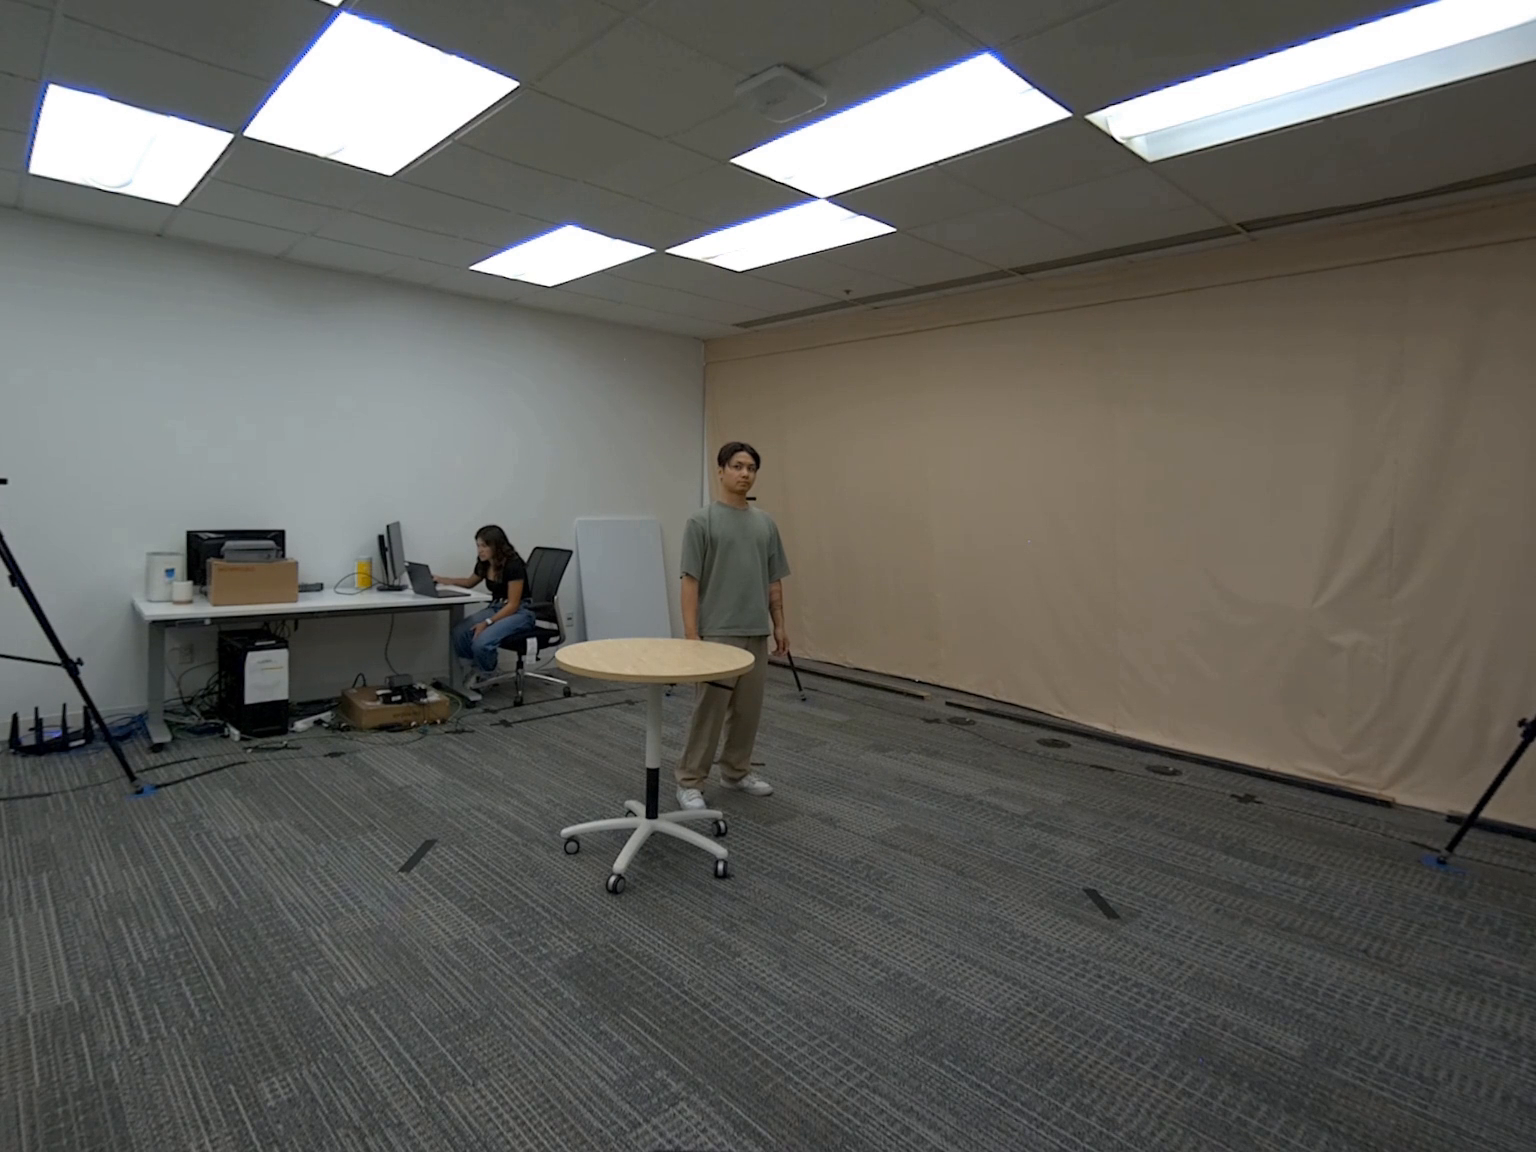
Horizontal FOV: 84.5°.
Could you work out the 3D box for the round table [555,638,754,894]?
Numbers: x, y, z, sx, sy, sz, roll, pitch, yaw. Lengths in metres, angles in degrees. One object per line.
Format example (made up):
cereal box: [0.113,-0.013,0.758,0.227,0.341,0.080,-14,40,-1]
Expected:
round table: [-0.462,0.699,3.272,0.763,0.792,0.766,1,4,-1]
